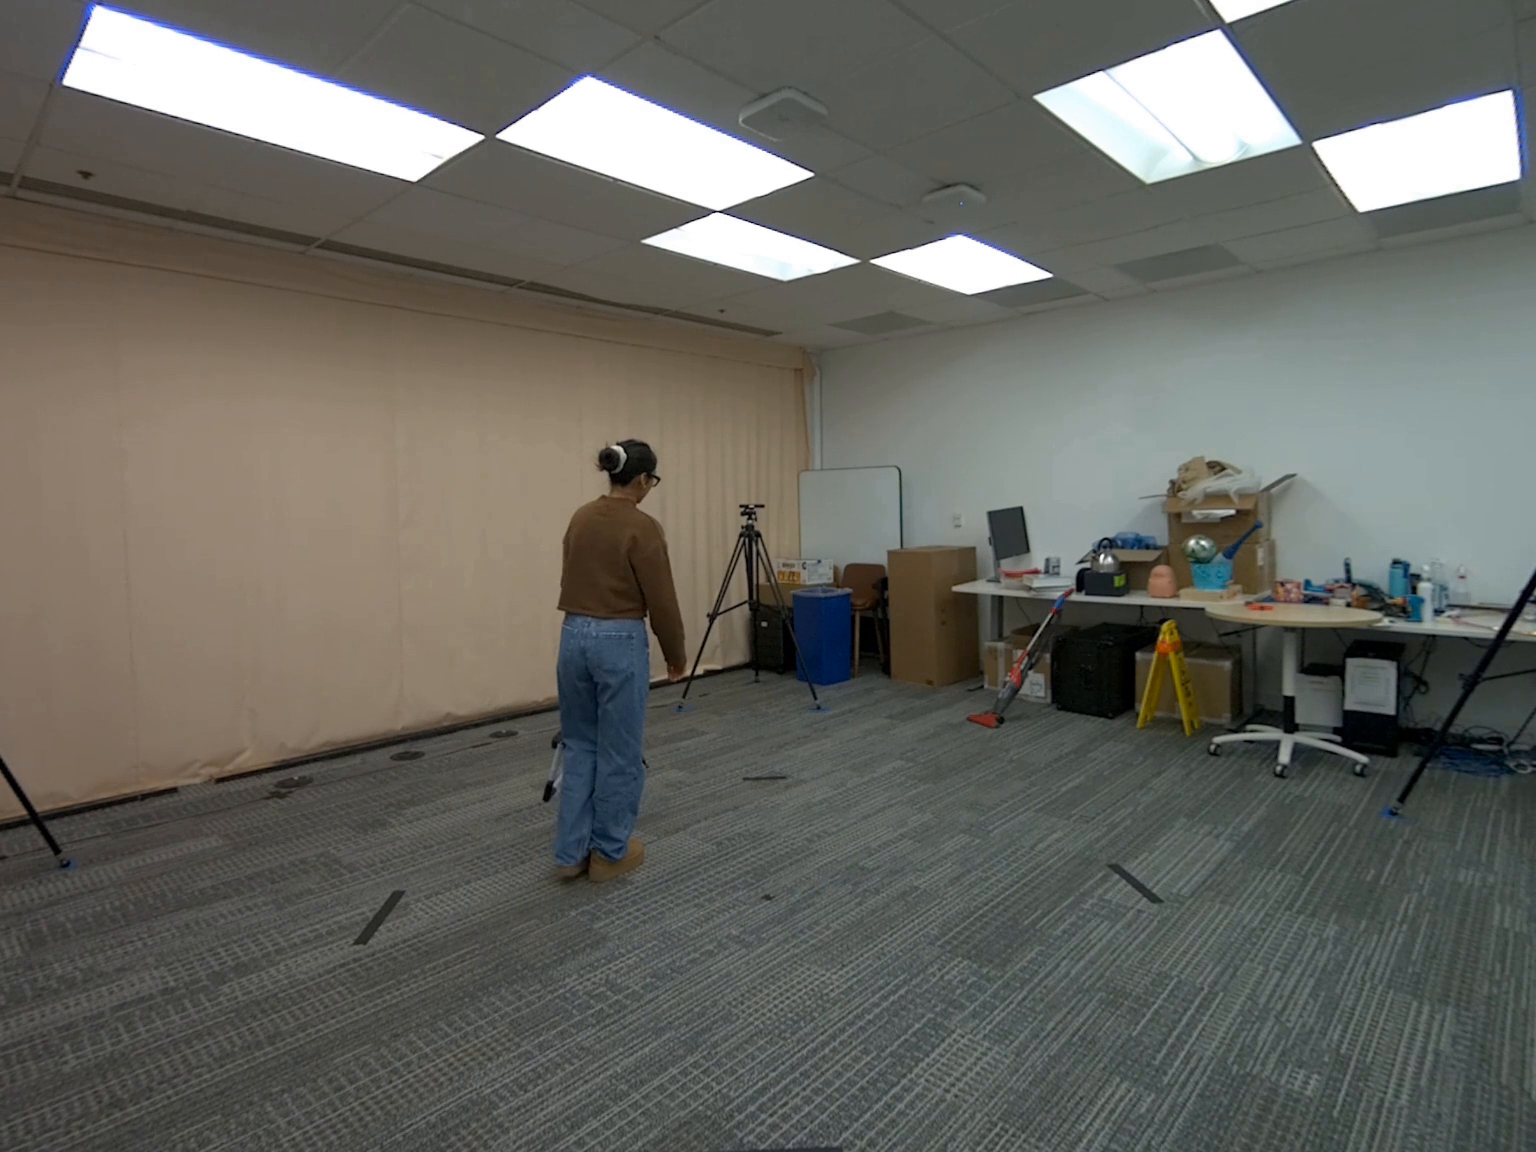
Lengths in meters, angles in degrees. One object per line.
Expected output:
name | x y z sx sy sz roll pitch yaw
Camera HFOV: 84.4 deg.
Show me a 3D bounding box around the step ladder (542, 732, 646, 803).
step ladder | -0.724 0.602 3.550 0.352 0.602 0.430 5 11 5
